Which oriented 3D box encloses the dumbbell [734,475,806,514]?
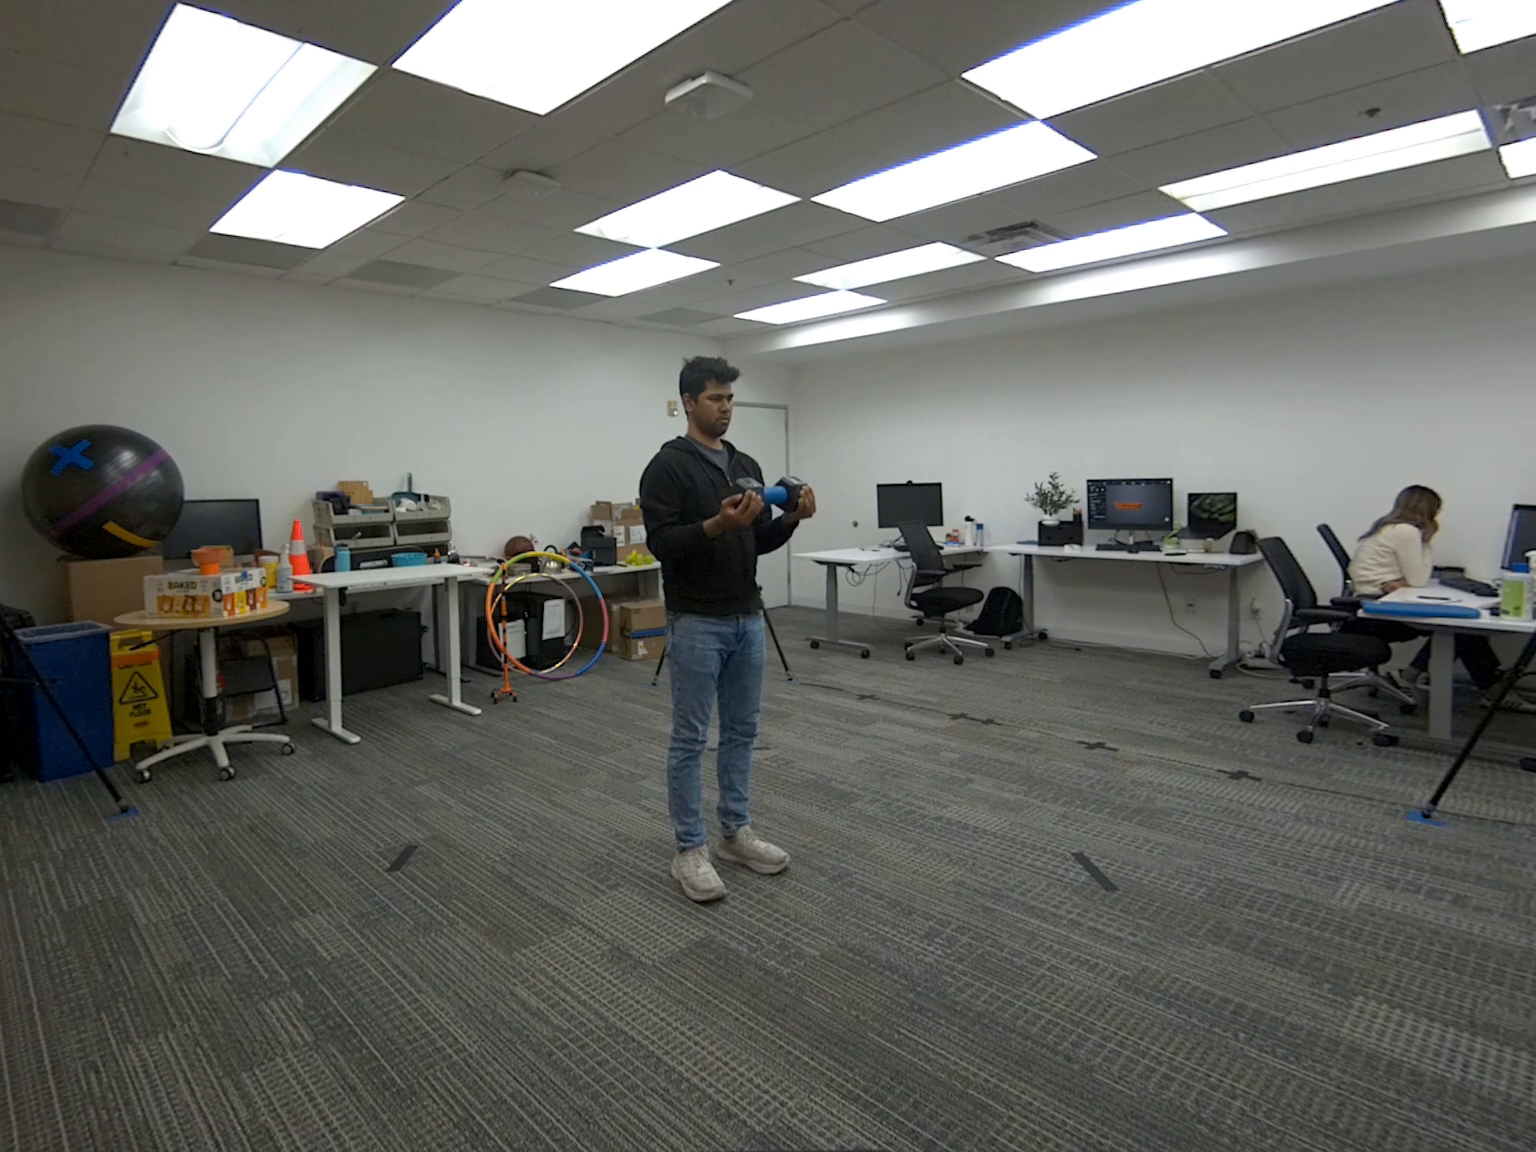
[{"bbox_3d":[-0.007,-0.250,2.802,0.286,0.107,0.128,-7,33,-43],"label":"dumbbell"}]
